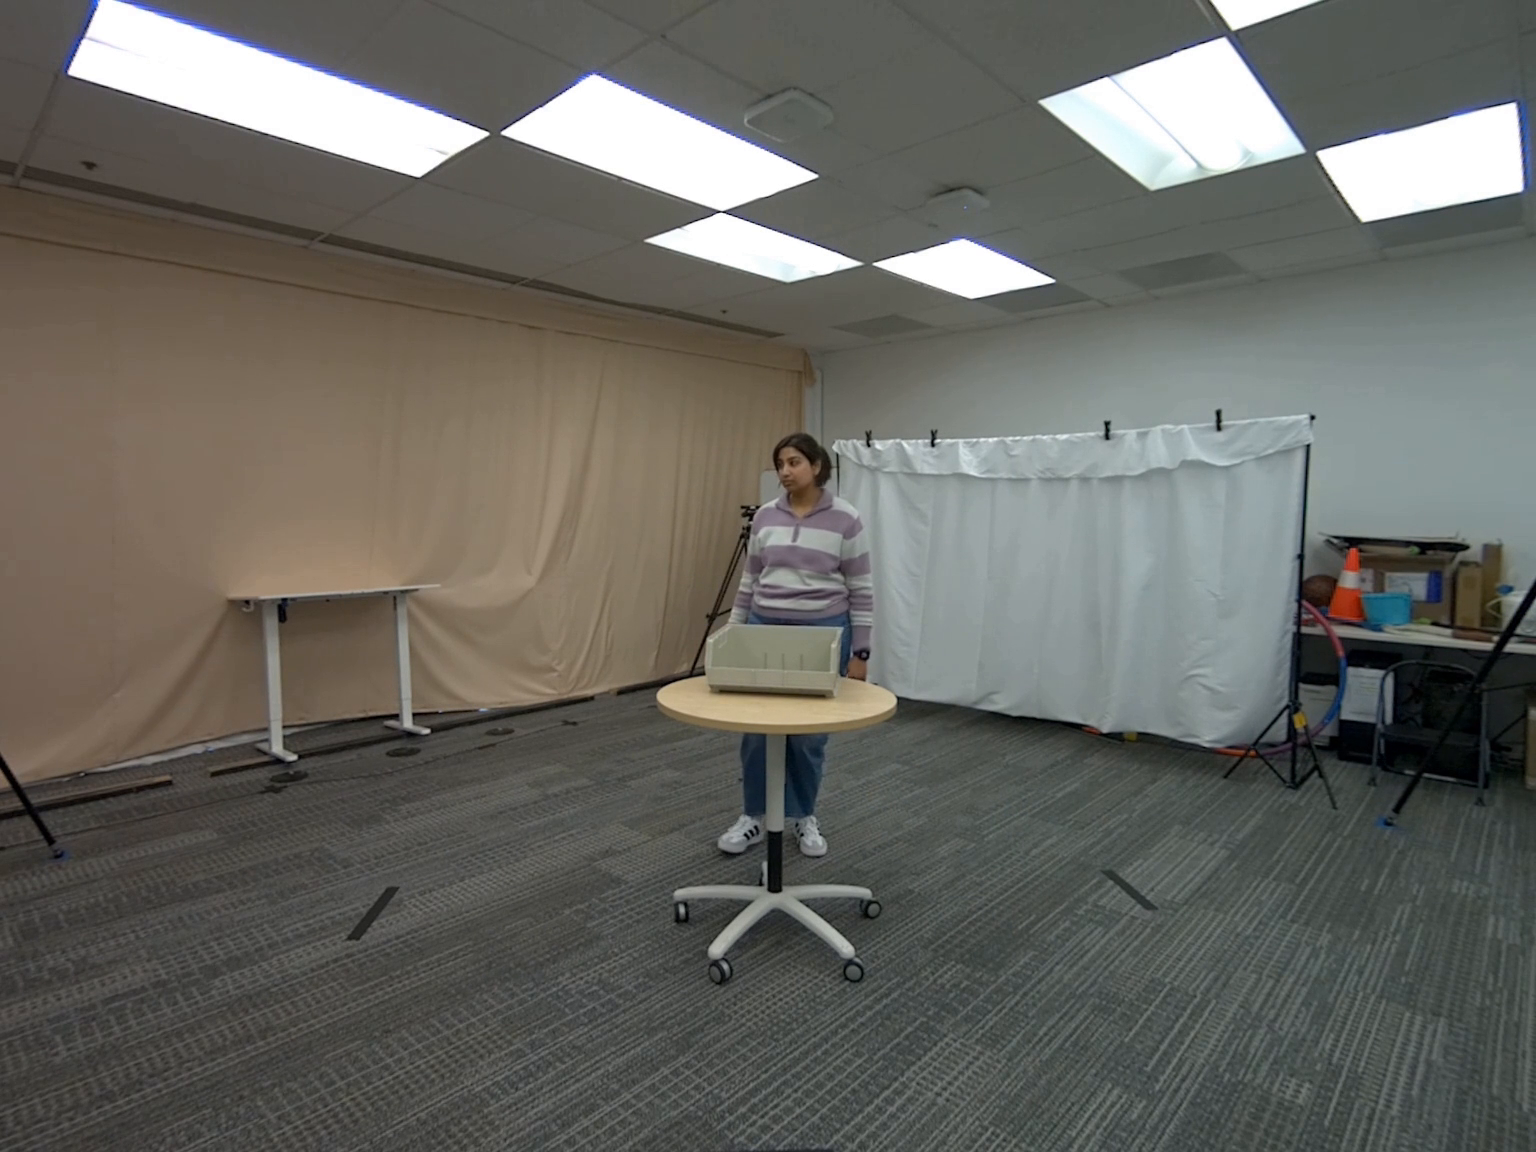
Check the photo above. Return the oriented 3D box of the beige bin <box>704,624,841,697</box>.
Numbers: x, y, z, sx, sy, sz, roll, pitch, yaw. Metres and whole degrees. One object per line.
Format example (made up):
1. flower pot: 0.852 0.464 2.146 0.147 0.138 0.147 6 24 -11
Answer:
1. beige bin: 0.032 0.283 2.837 0.427 0.188 0.373 1 3 10
